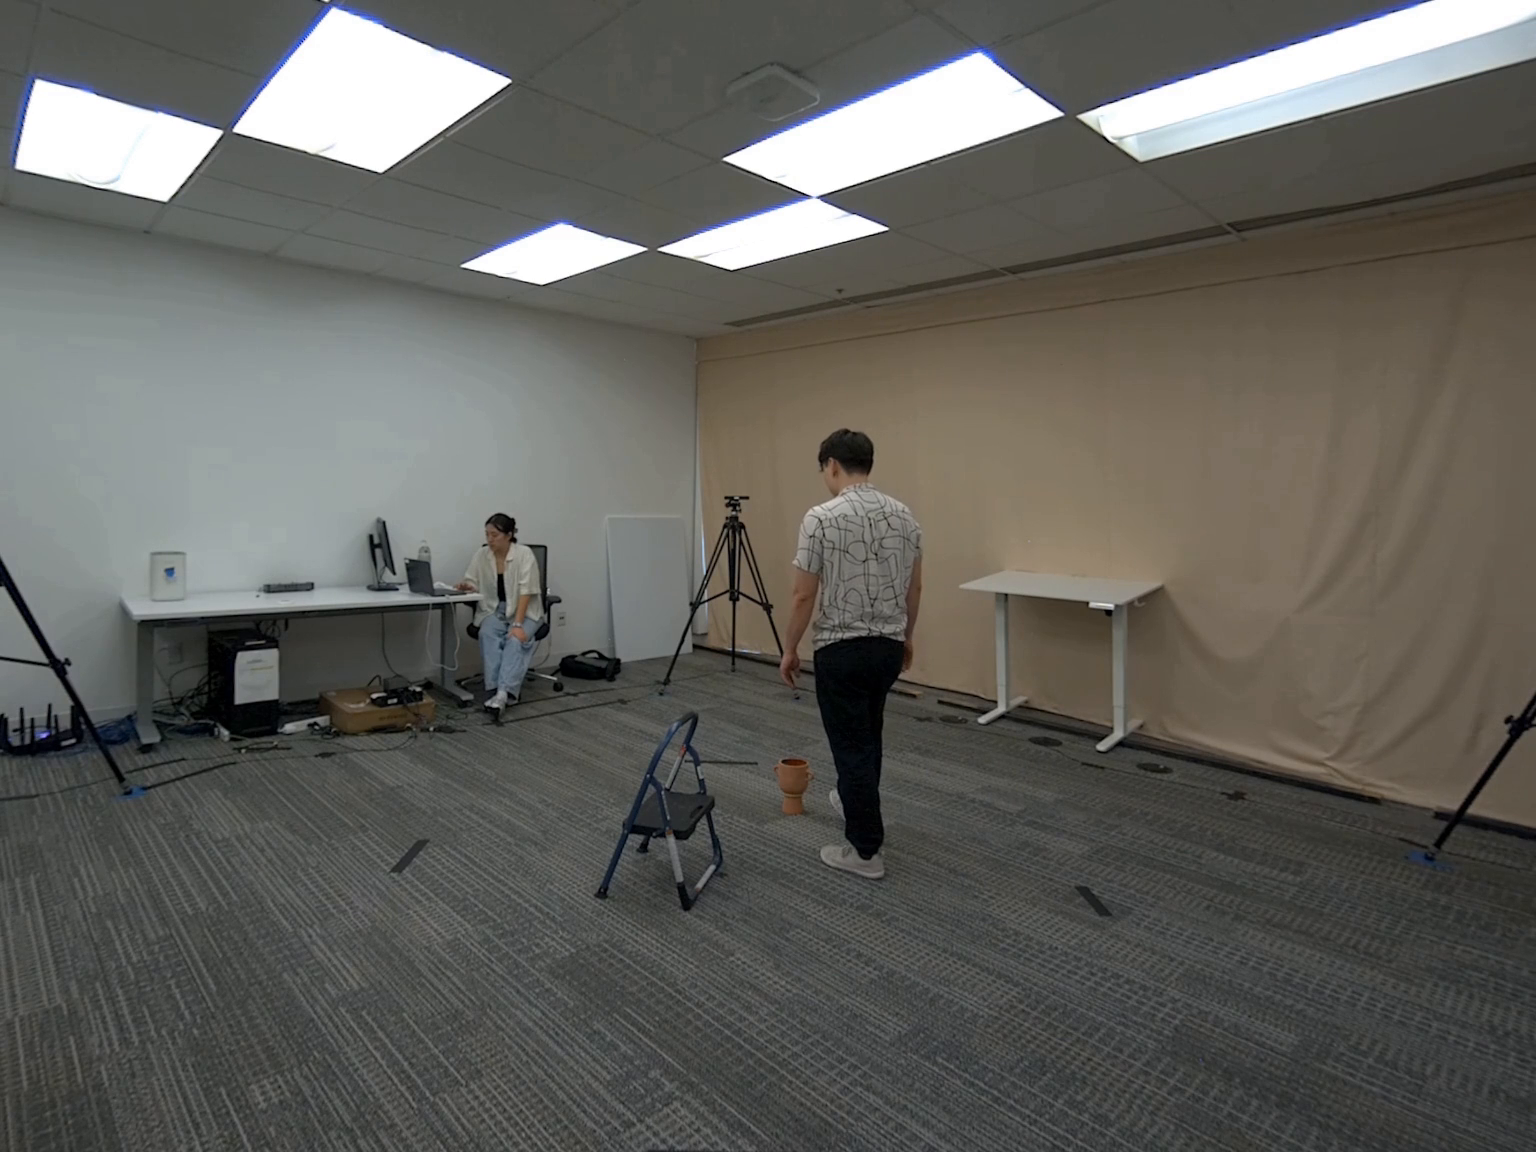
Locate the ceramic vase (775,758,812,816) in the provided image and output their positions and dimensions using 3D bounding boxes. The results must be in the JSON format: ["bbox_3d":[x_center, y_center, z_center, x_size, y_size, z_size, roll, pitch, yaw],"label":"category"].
[{"bbox_3d":[0.102,0.940,3.772,0.132,0.219,0.162,0,4,-24],"label":"ceramic vase"}]
